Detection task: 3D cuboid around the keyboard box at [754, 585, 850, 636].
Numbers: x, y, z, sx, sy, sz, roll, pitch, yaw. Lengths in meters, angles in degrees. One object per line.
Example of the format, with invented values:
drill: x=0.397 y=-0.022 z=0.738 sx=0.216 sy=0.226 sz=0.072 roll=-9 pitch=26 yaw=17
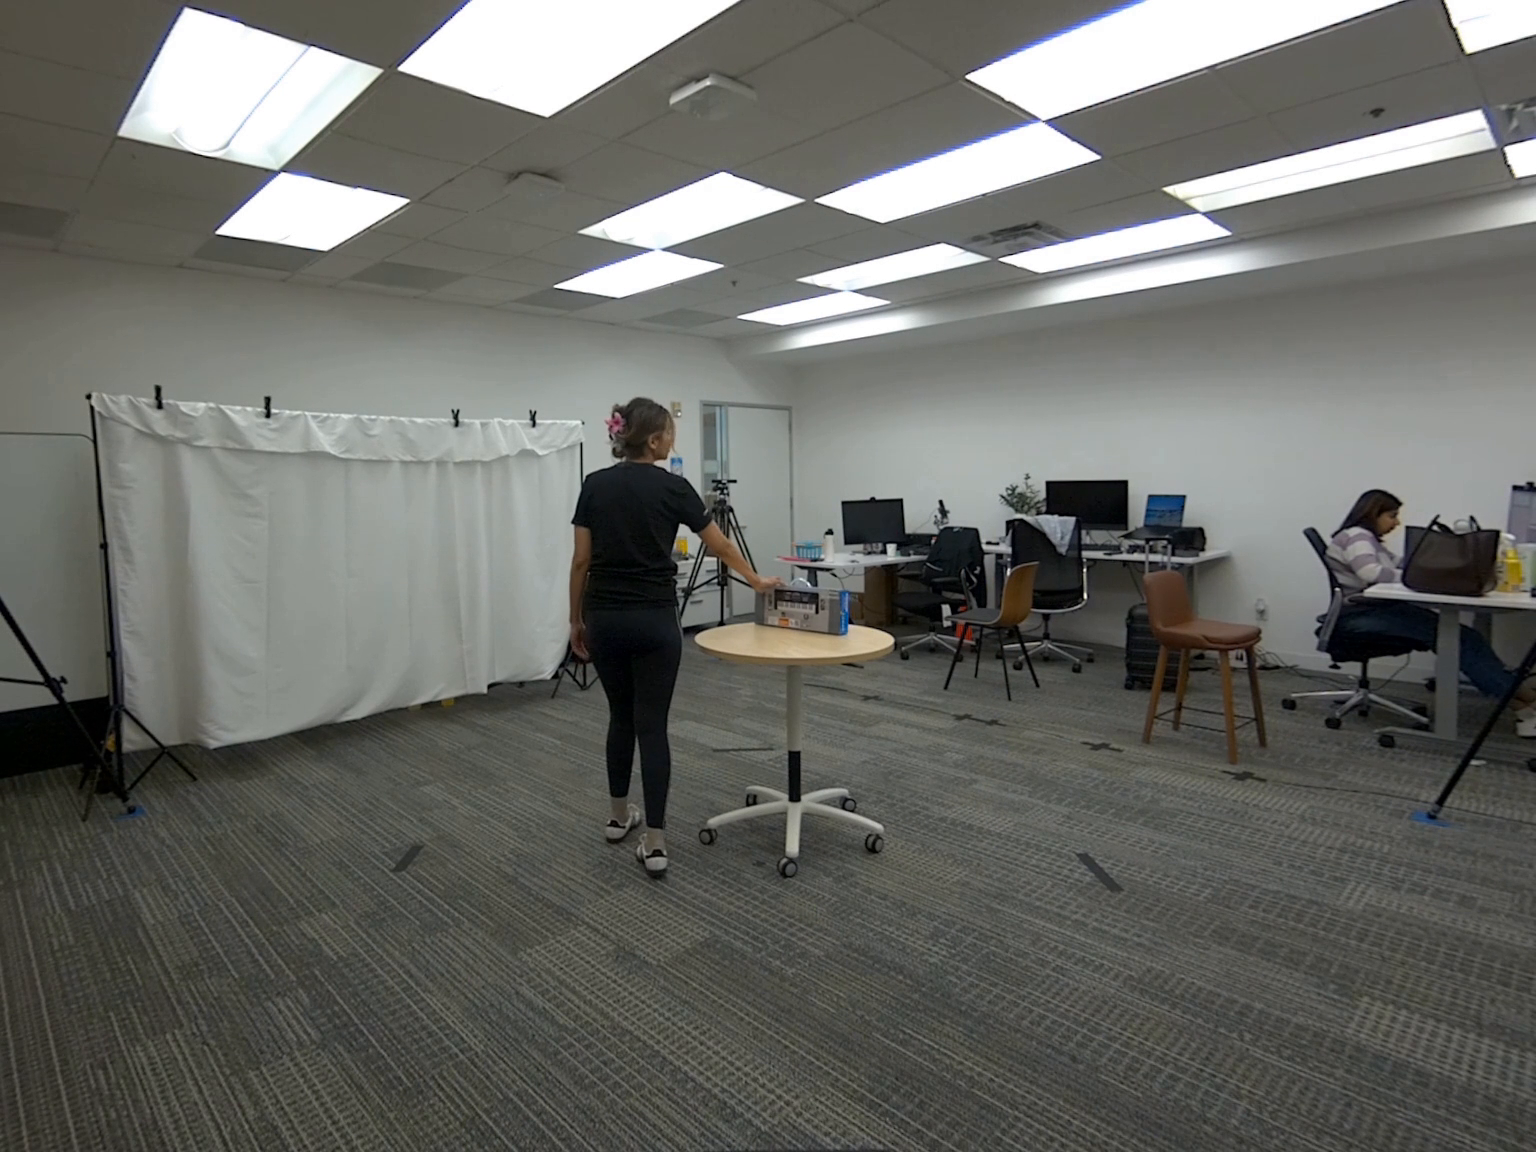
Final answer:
keyboard box: x=0.131 y=0.131 z=3.490 sx=0.450 sy=0.176 sz=0.057 roll=4 pitch=2 yaw=41
